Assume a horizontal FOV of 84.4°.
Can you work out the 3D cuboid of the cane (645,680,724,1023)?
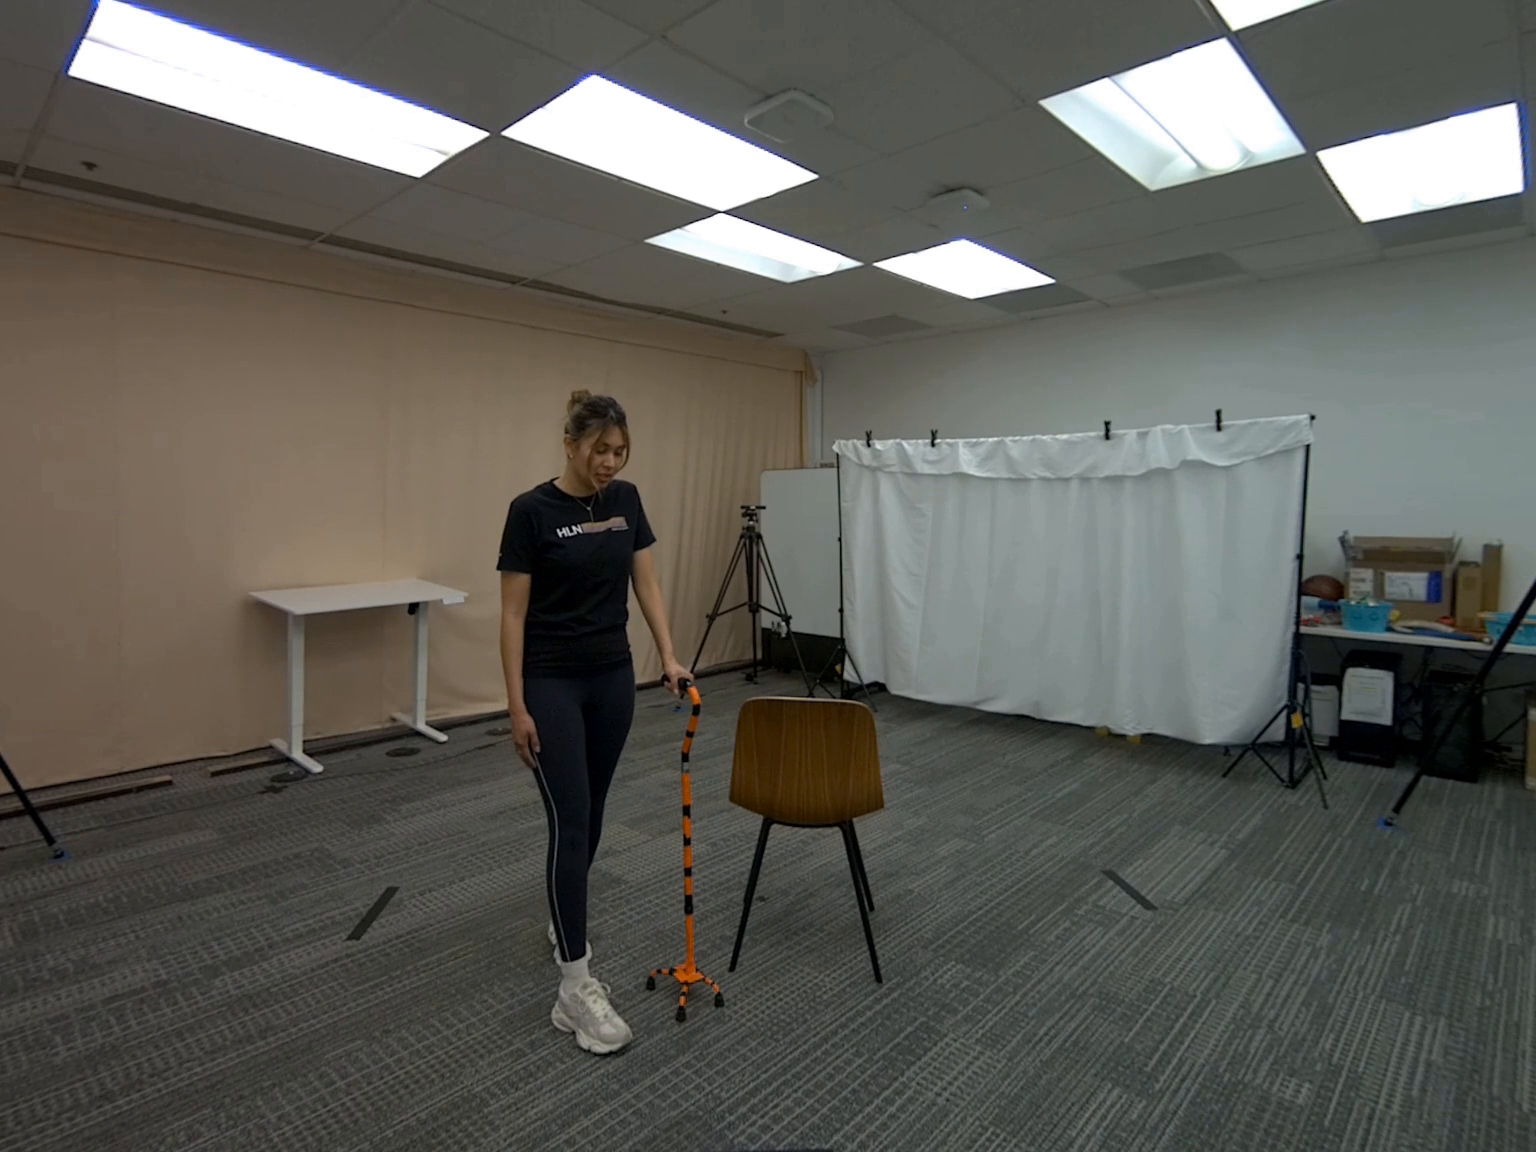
[{"bbox_3d":[-0.230,0.749,2.364,0.147,0.907,0.213,2,3,-35],"label":"cane"}]
